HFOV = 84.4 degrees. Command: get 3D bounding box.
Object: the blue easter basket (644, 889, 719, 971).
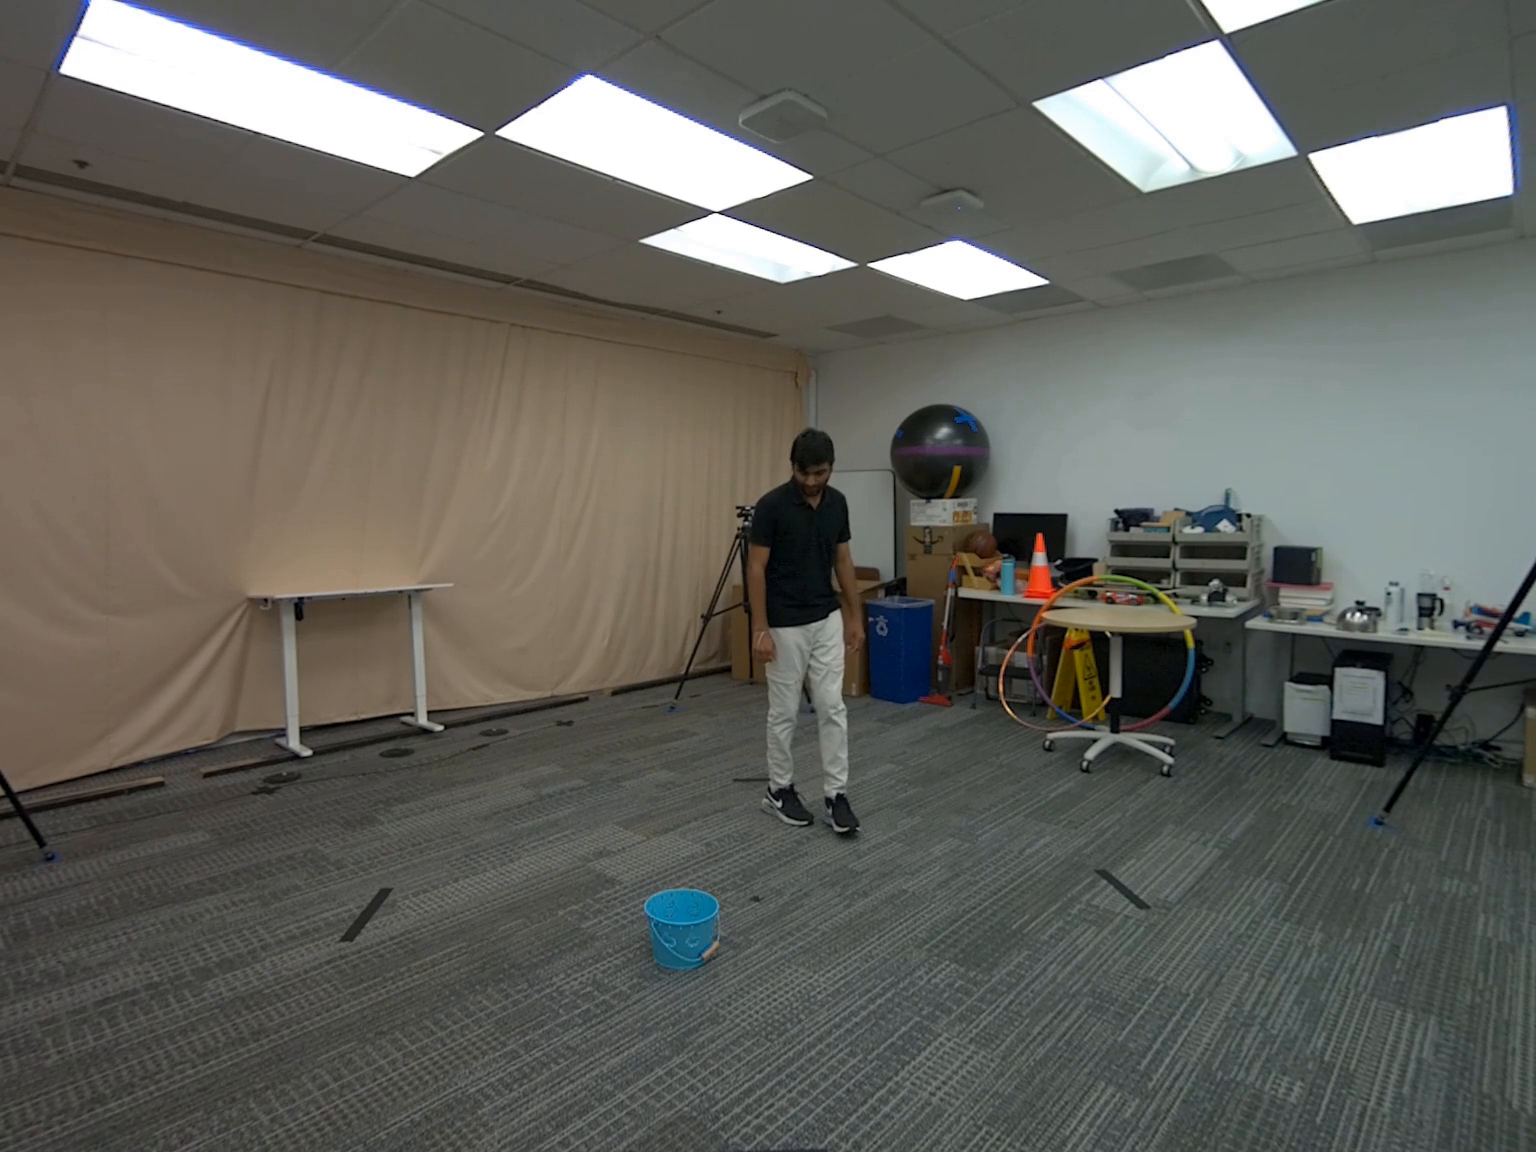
[{"bbox_3d":[-0.264,1.097,2.608,0.243,0.155,0.244,-1,4,-2],"label":"blue easter basket"}]
